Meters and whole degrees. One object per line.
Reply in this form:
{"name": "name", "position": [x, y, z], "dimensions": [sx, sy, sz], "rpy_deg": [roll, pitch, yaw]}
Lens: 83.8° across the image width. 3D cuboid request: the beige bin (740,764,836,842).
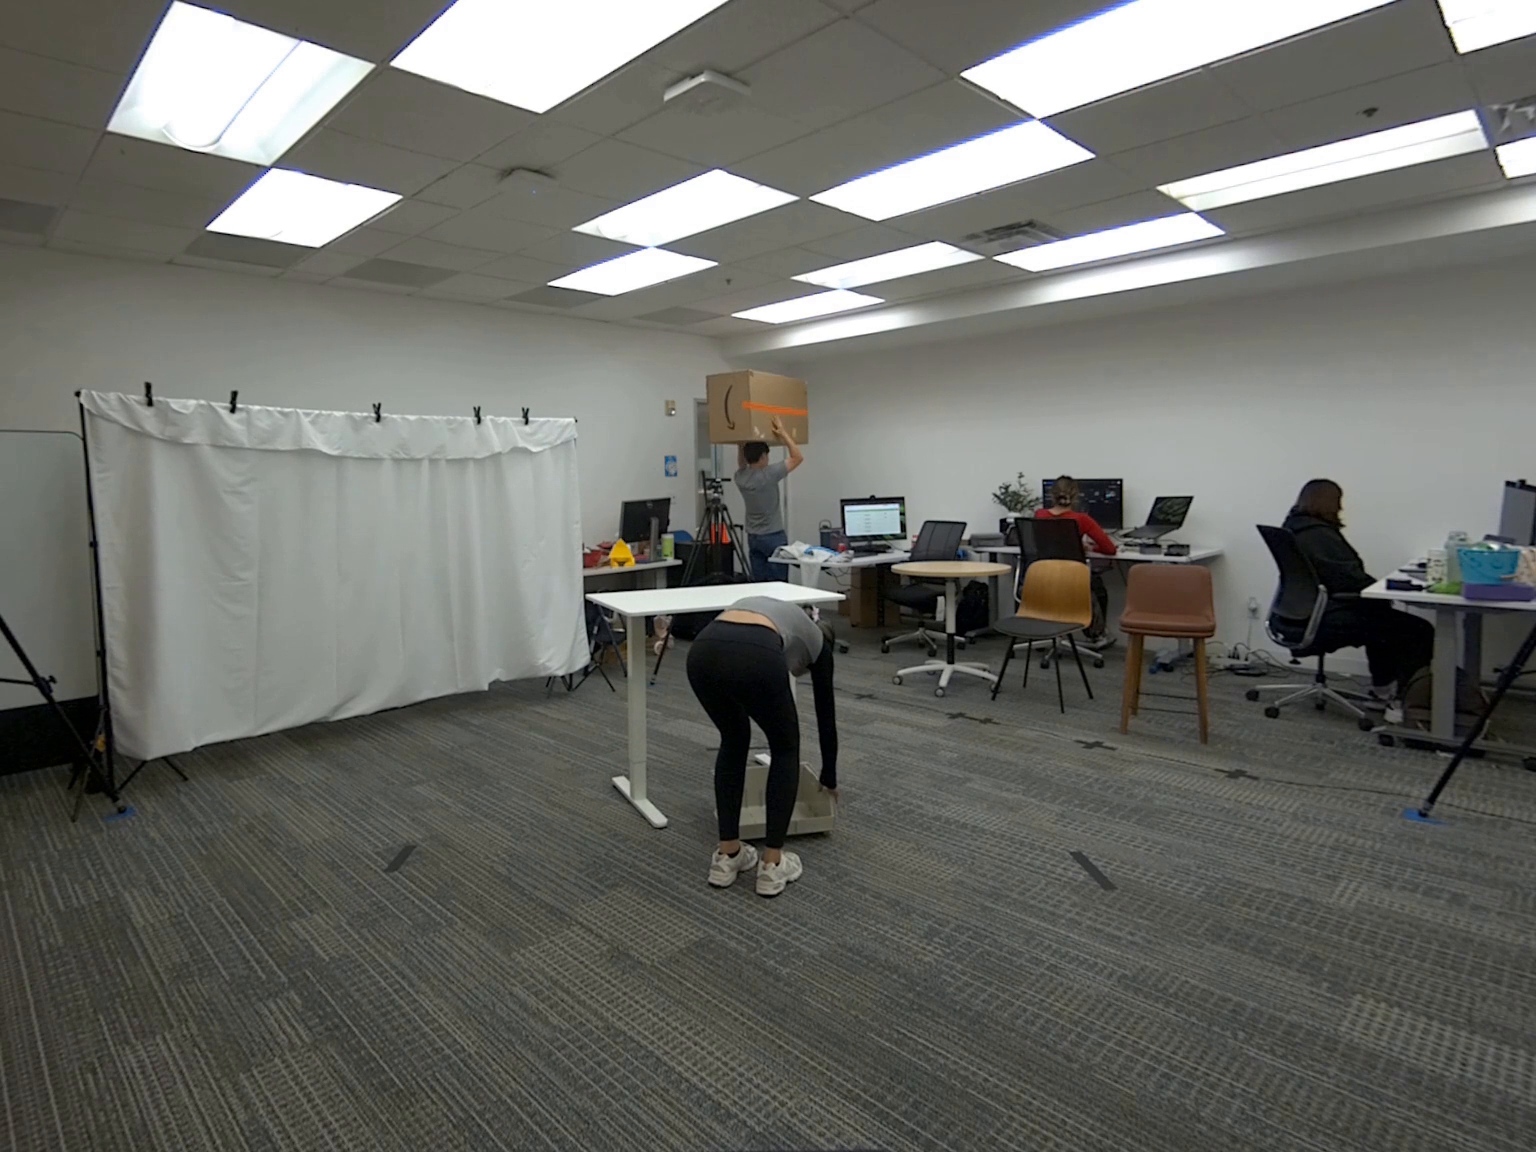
{"name": "beige bin", "position": [0.015, 0.910, 3.431], "dimensions": [0.417, 0.188, 0.384], "rpy_deg": [-4, 6, -14]}
